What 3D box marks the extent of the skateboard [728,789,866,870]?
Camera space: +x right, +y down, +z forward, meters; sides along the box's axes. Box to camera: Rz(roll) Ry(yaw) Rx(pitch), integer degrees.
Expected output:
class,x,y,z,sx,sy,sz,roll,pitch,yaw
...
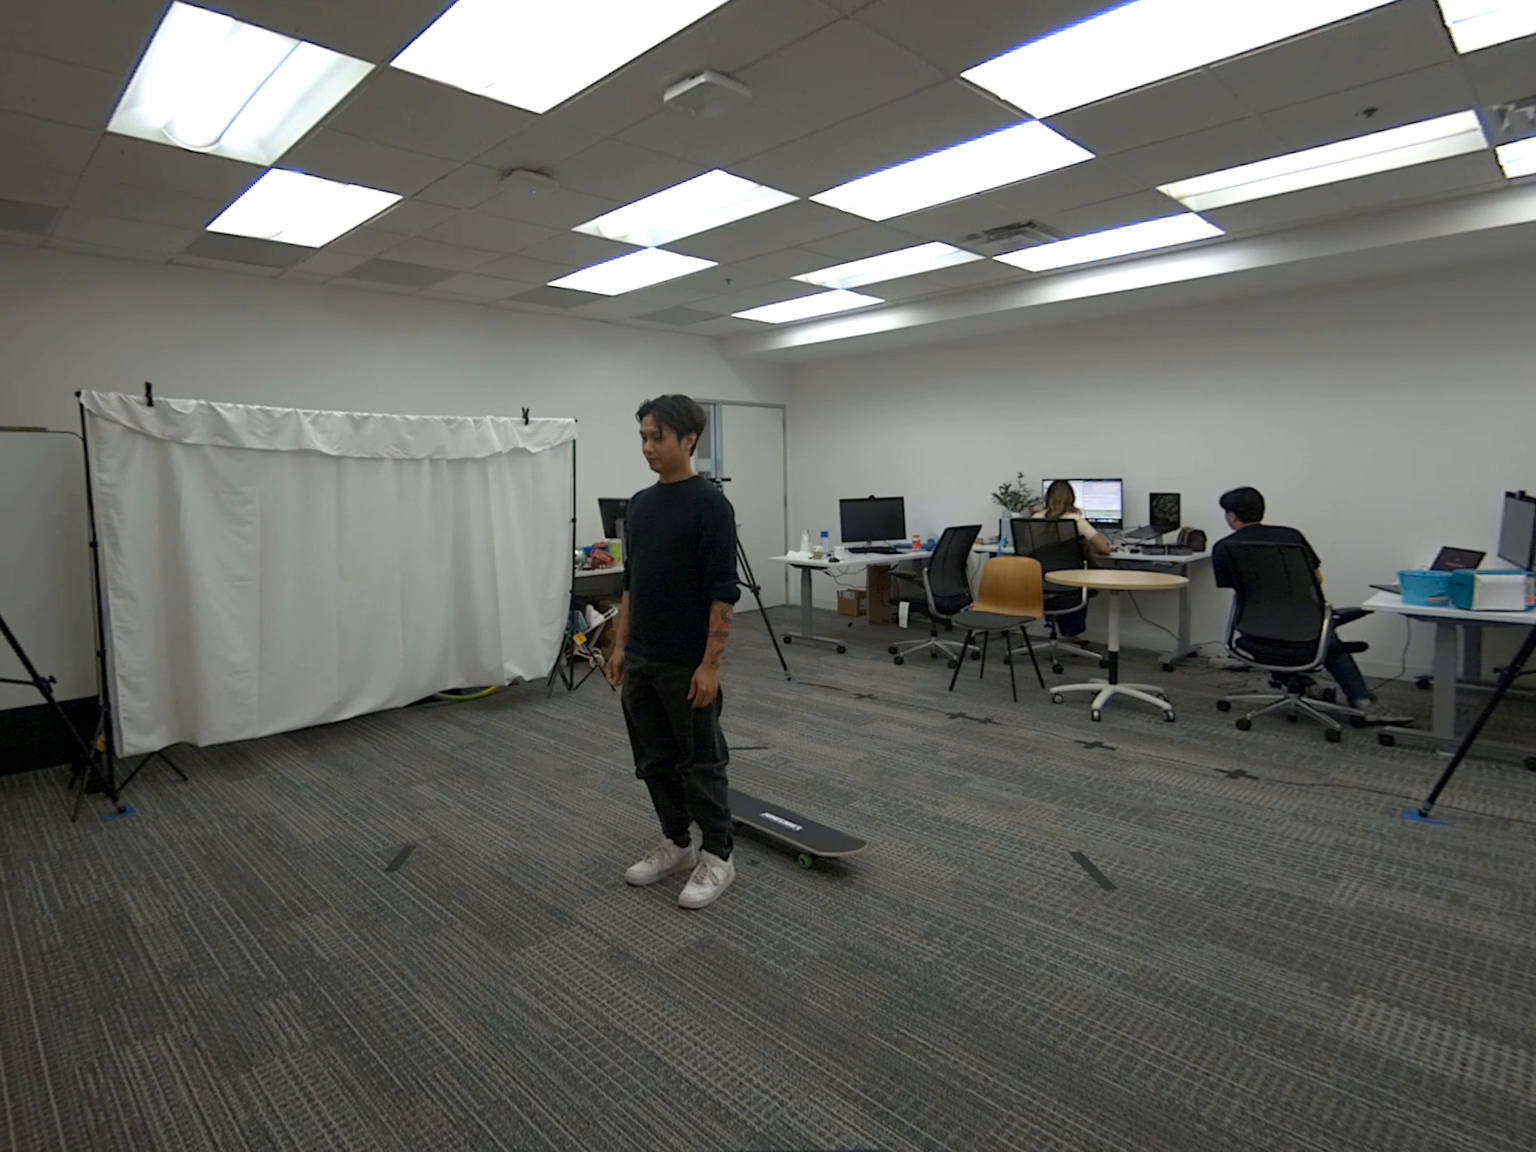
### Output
class,x,y,z,sx,sy,sz,roll,pitch,yaw
skateboard,0.055,0.966,3.251,0.188,0.110,0.810,-5,8,-42
